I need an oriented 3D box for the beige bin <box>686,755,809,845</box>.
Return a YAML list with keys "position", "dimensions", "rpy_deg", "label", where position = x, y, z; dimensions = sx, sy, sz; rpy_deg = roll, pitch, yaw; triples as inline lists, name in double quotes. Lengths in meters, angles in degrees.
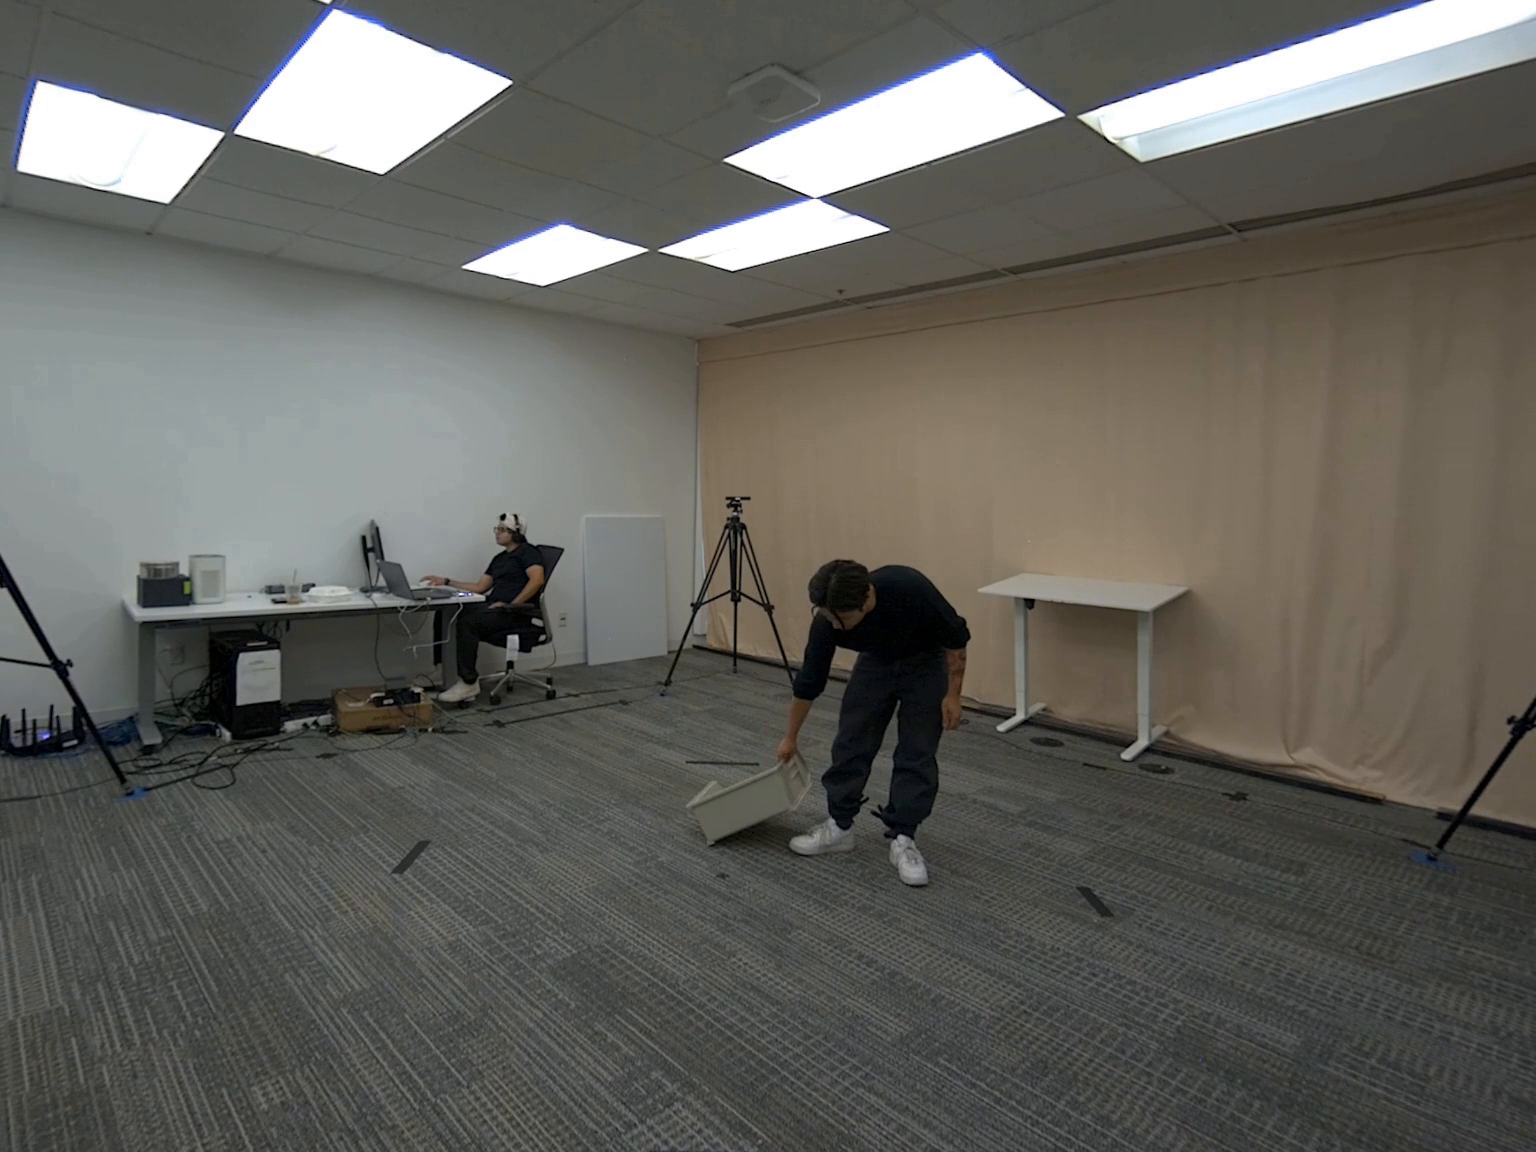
- position: [-0.064, 0.888, 3.467]
  dimensions: [0.425, 0.189, 0.374]
  rpy_deg: [-27, -1, 16]
  label: "beige bin"
